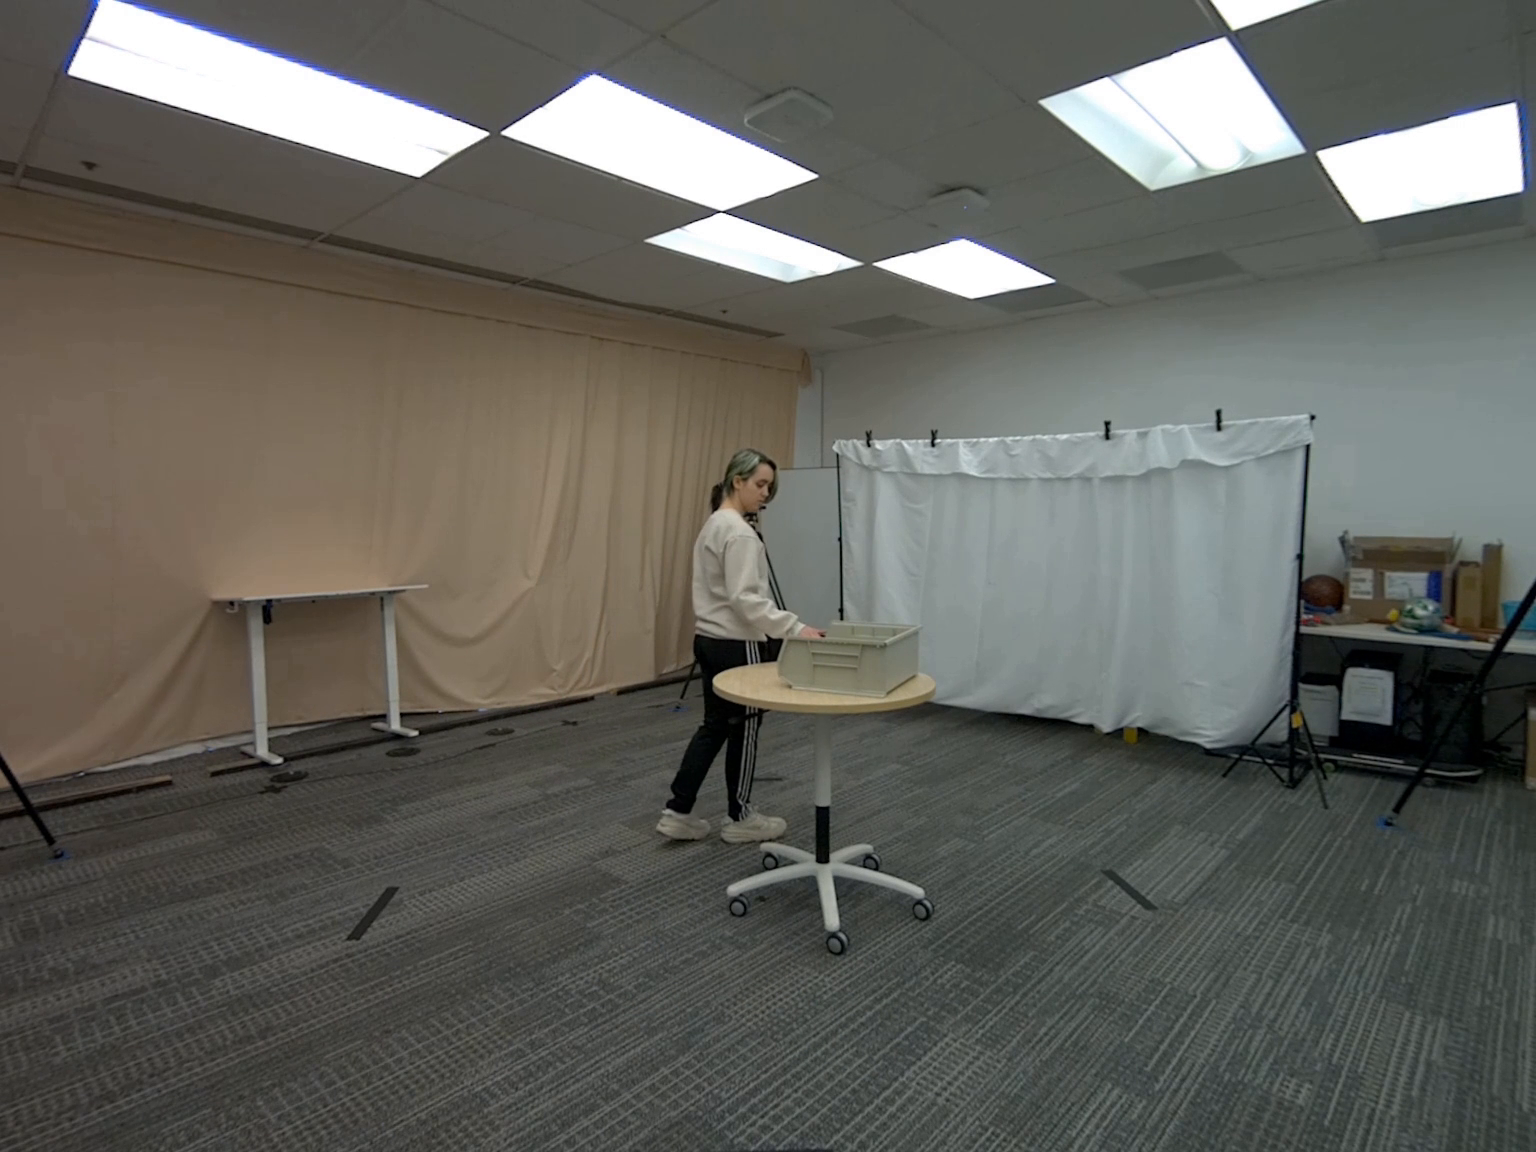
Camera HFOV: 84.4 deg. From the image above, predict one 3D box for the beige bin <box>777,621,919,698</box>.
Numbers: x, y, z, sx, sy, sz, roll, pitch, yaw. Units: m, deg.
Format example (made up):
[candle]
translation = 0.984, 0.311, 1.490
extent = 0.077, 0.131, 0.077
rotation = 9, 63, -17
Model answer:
[beige bin]
translation = 0.295, 0.274, 2.889
extent = 0.387, 0.188, 0.412
rotation = 3, 5, 26
